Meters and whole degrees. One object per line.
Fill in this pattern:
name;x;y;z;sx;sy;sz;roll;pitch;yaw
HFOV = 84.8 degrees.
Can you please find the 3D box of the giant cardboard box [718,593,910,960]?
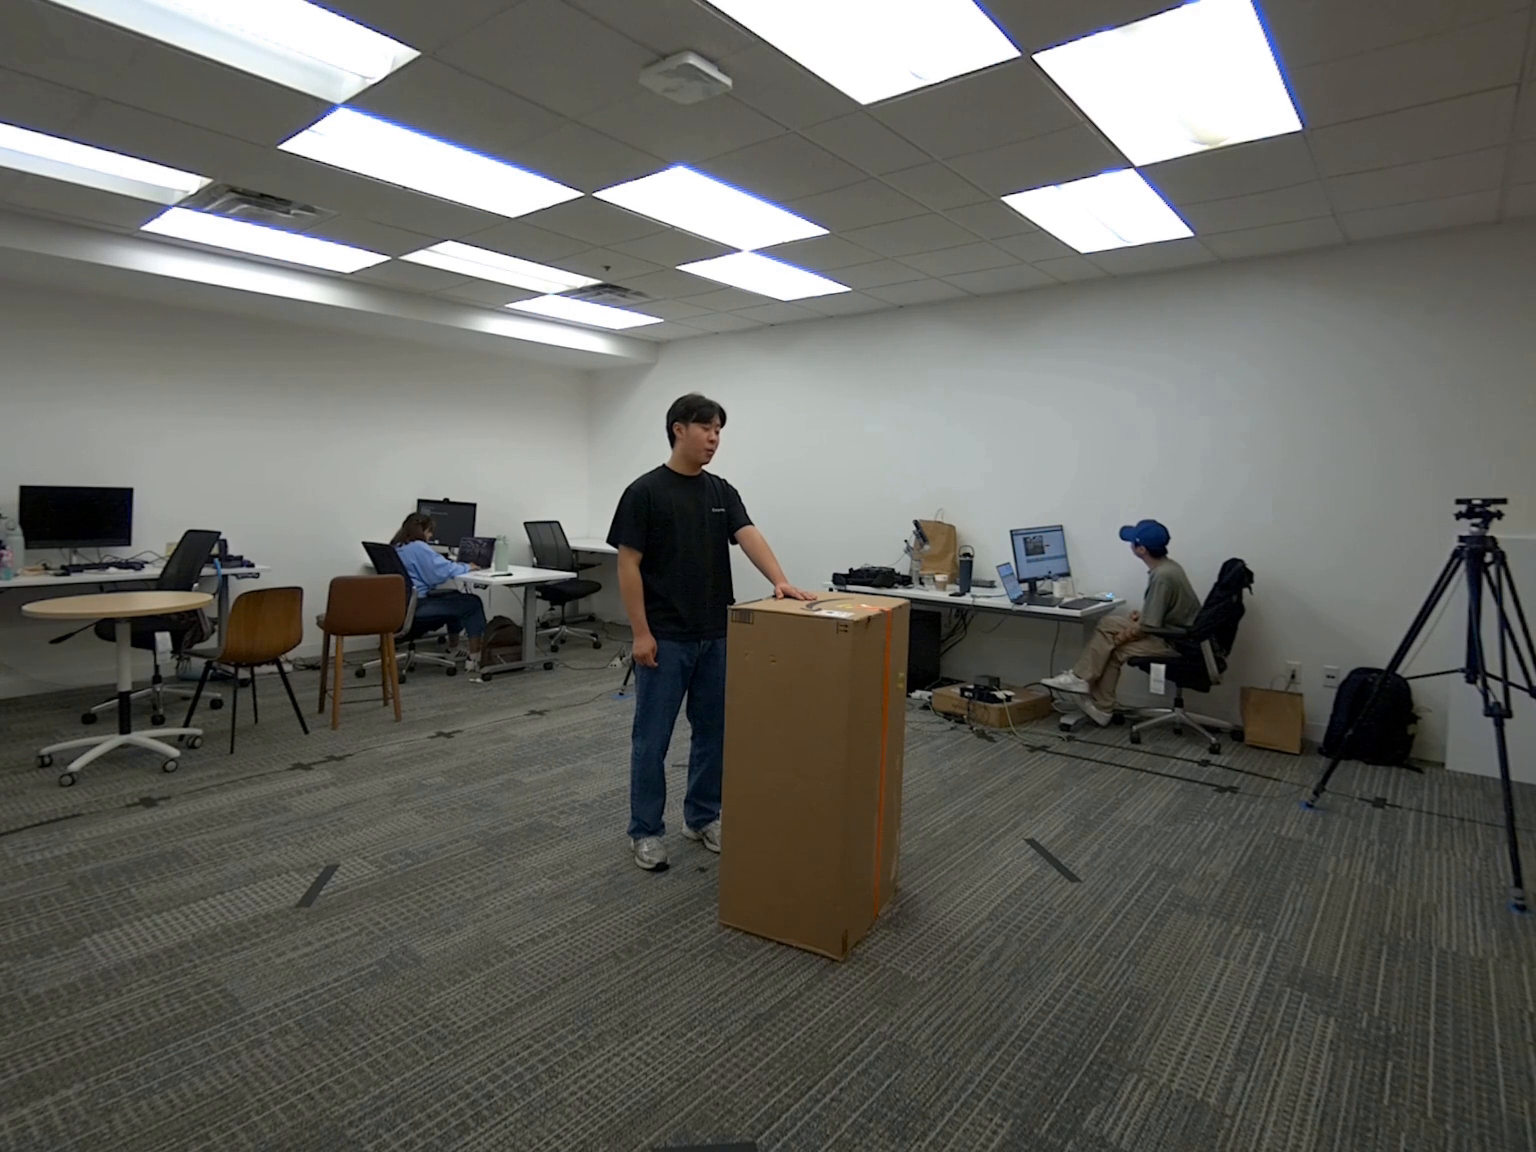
giant cardboard box;0.163;0.591;2.834;0.460;1.024;0.569;4;4;28
